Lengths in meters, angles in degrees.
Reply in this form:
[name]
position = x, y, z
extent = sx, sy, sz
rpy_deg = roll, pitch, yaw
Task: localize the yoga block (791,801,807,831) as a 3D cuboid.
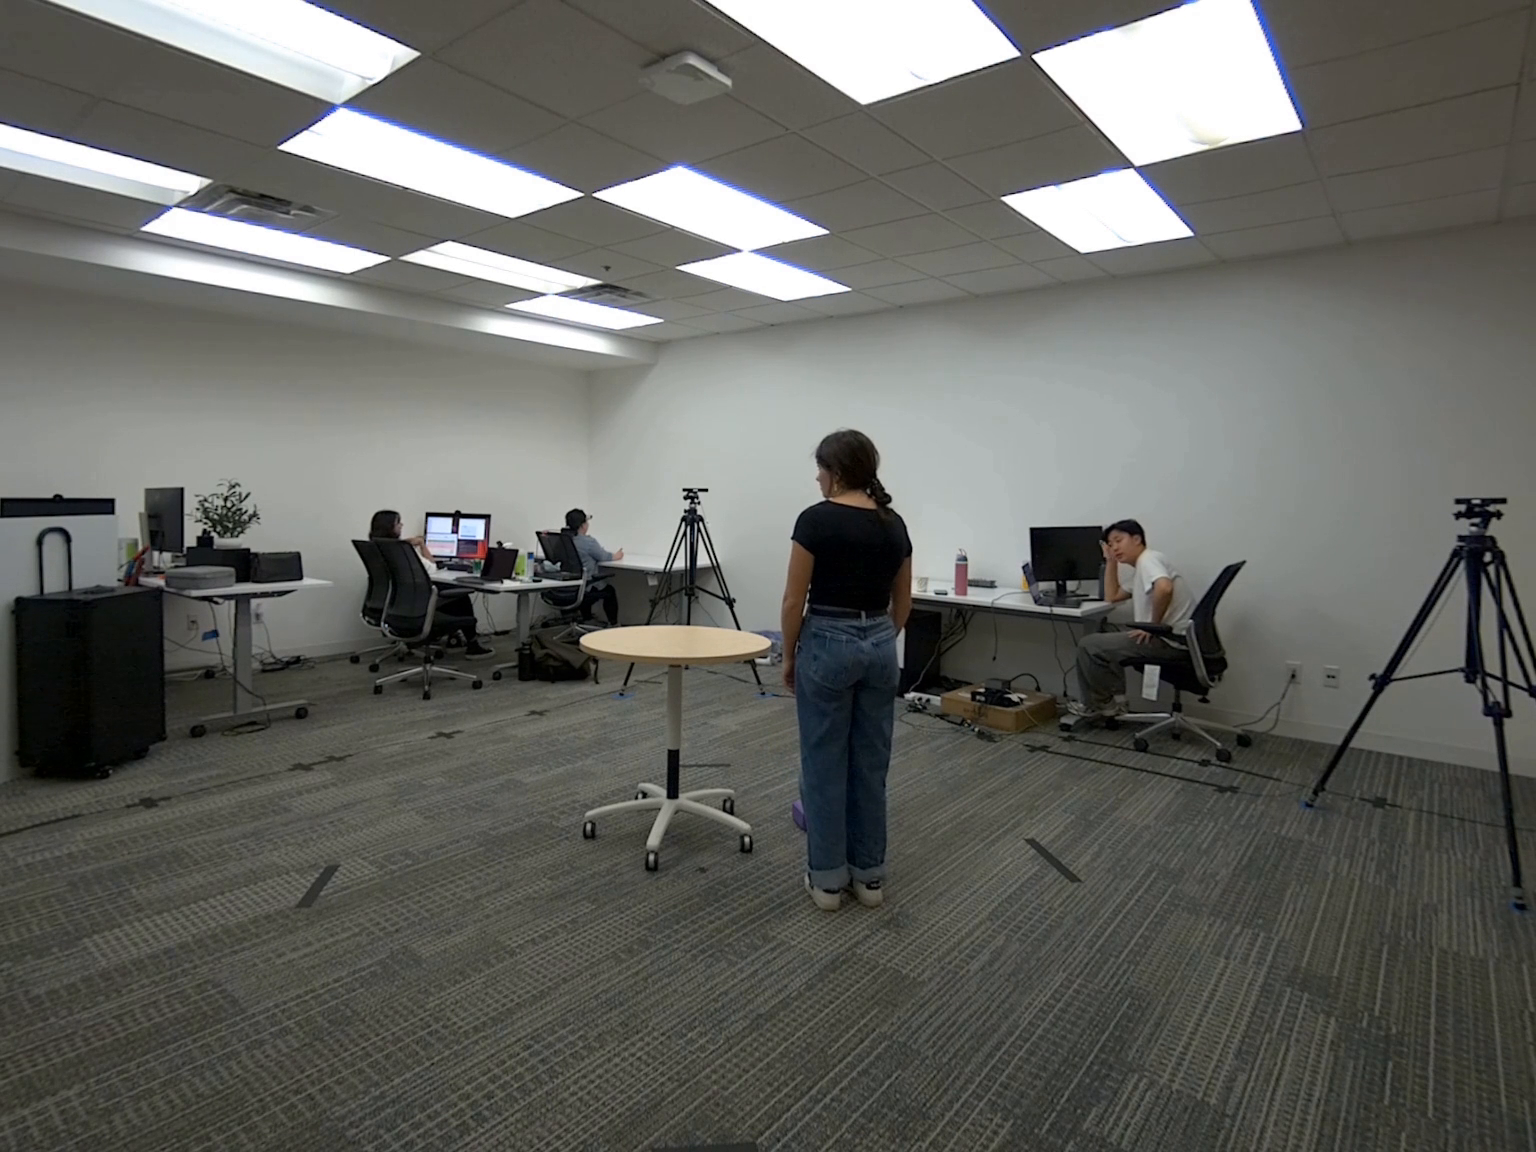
[yoga block]
position = 0.249, 0.981, 3.567
extent = 0.226, 0.076, 0.152
rpy_deg = -4, 6, -15
